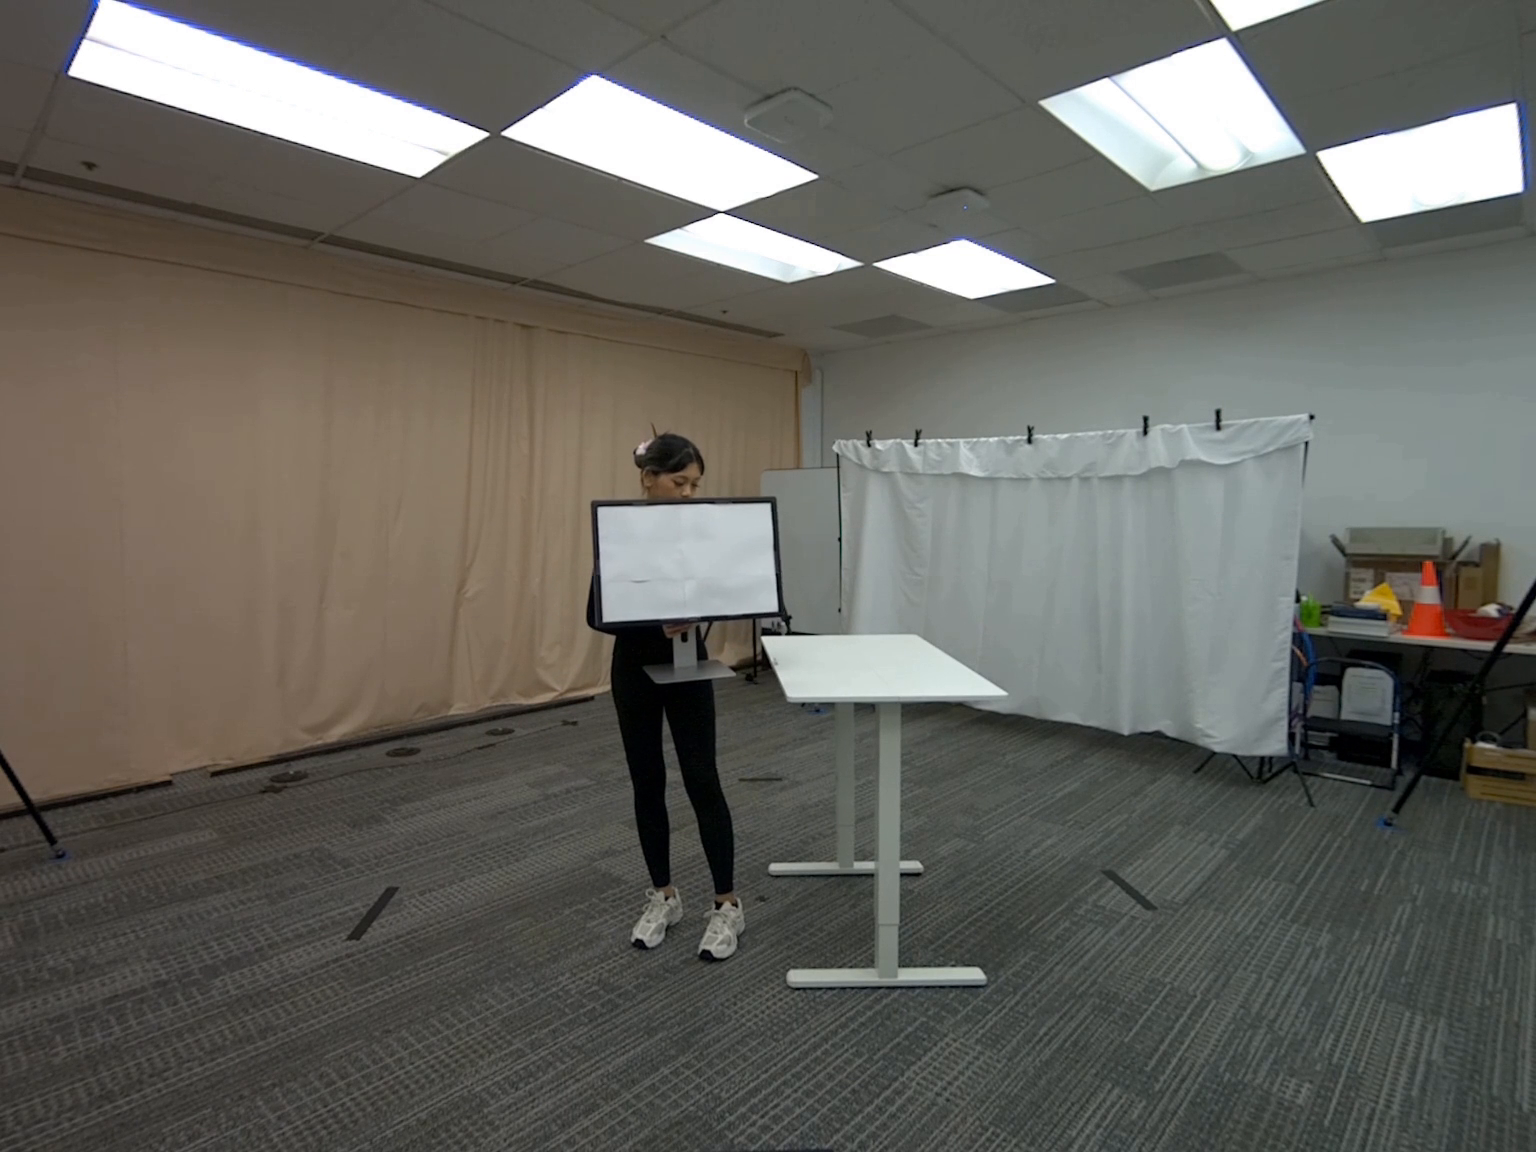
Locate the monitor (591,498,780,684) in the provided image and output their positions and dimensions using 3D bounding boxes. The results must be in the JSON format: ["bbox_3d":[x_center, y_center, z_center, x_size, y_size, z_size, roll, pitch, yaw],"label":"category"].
[{"bbox_3d":[-0.247,0.042,2.511,0.529,0.520,0.191,-3,8,-19],"label":"monitor"}]
